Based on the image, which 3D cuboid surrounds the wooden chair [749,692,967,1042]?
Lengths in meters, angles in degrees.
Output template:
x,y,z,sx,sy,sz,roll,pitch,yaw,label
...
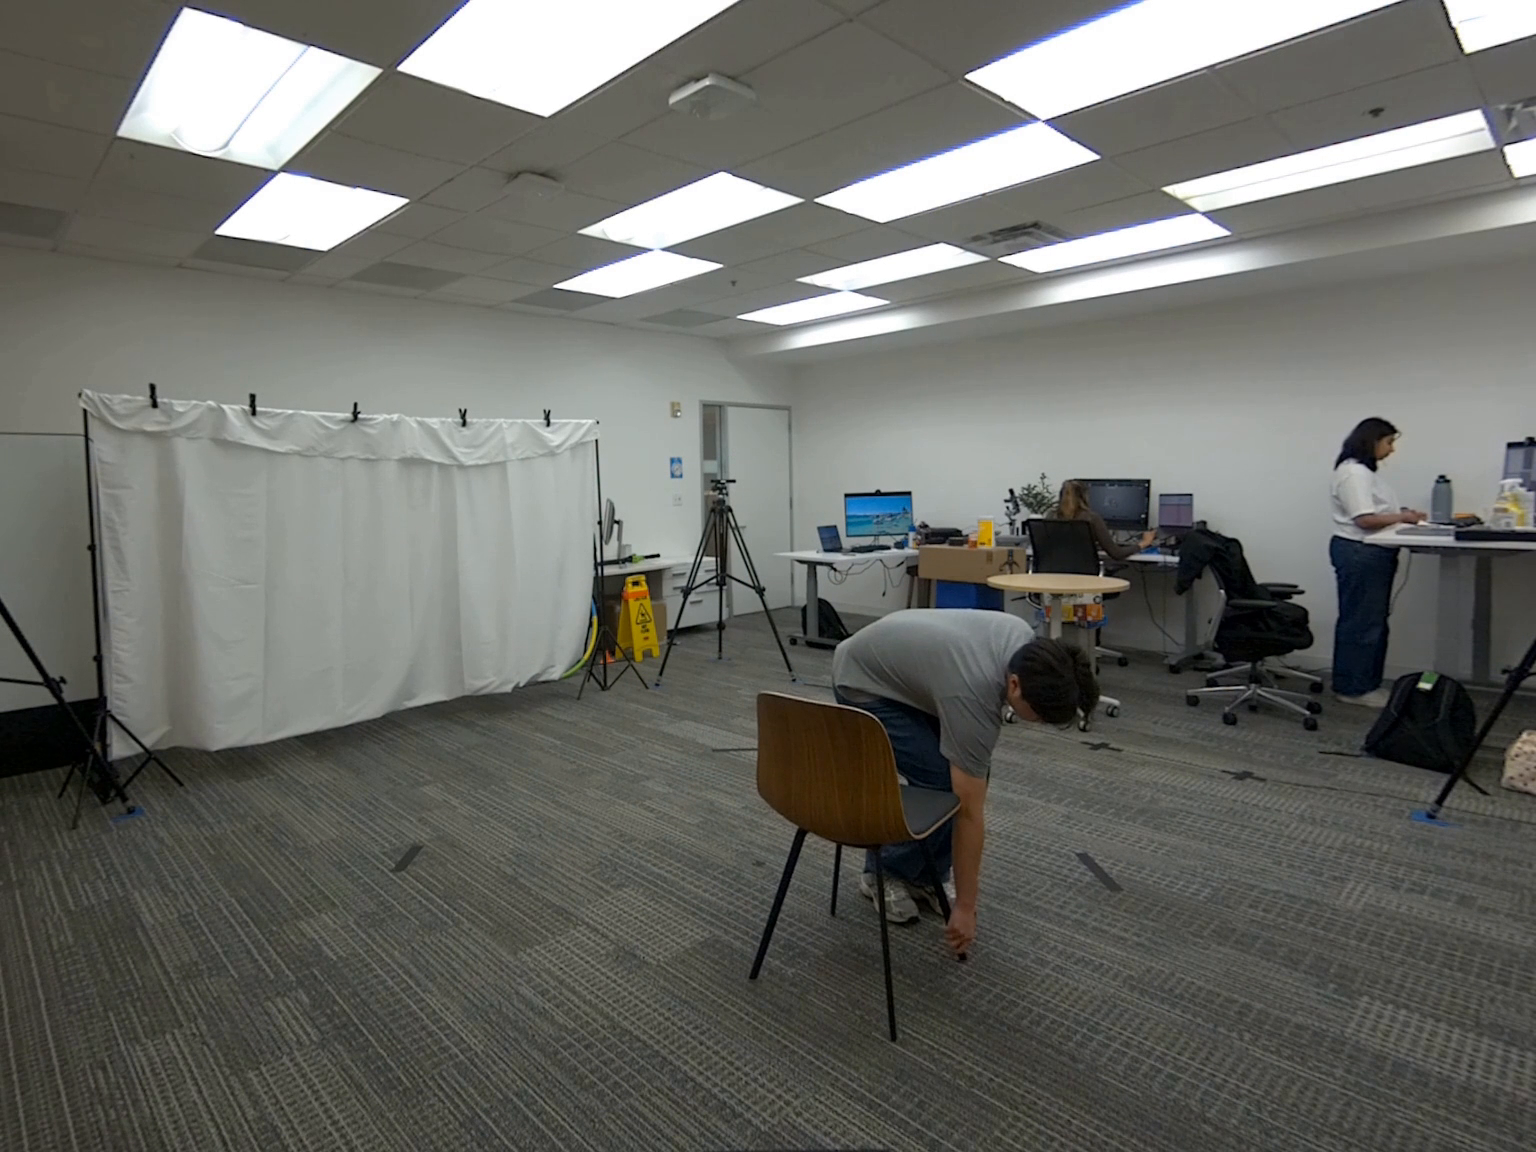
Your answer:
x,y,z,sx,sy,sz,roll,pitch,yaw,label
0.263,0.694,2.397,0.492,0.871,0.512,2,9,38,wooden chair
